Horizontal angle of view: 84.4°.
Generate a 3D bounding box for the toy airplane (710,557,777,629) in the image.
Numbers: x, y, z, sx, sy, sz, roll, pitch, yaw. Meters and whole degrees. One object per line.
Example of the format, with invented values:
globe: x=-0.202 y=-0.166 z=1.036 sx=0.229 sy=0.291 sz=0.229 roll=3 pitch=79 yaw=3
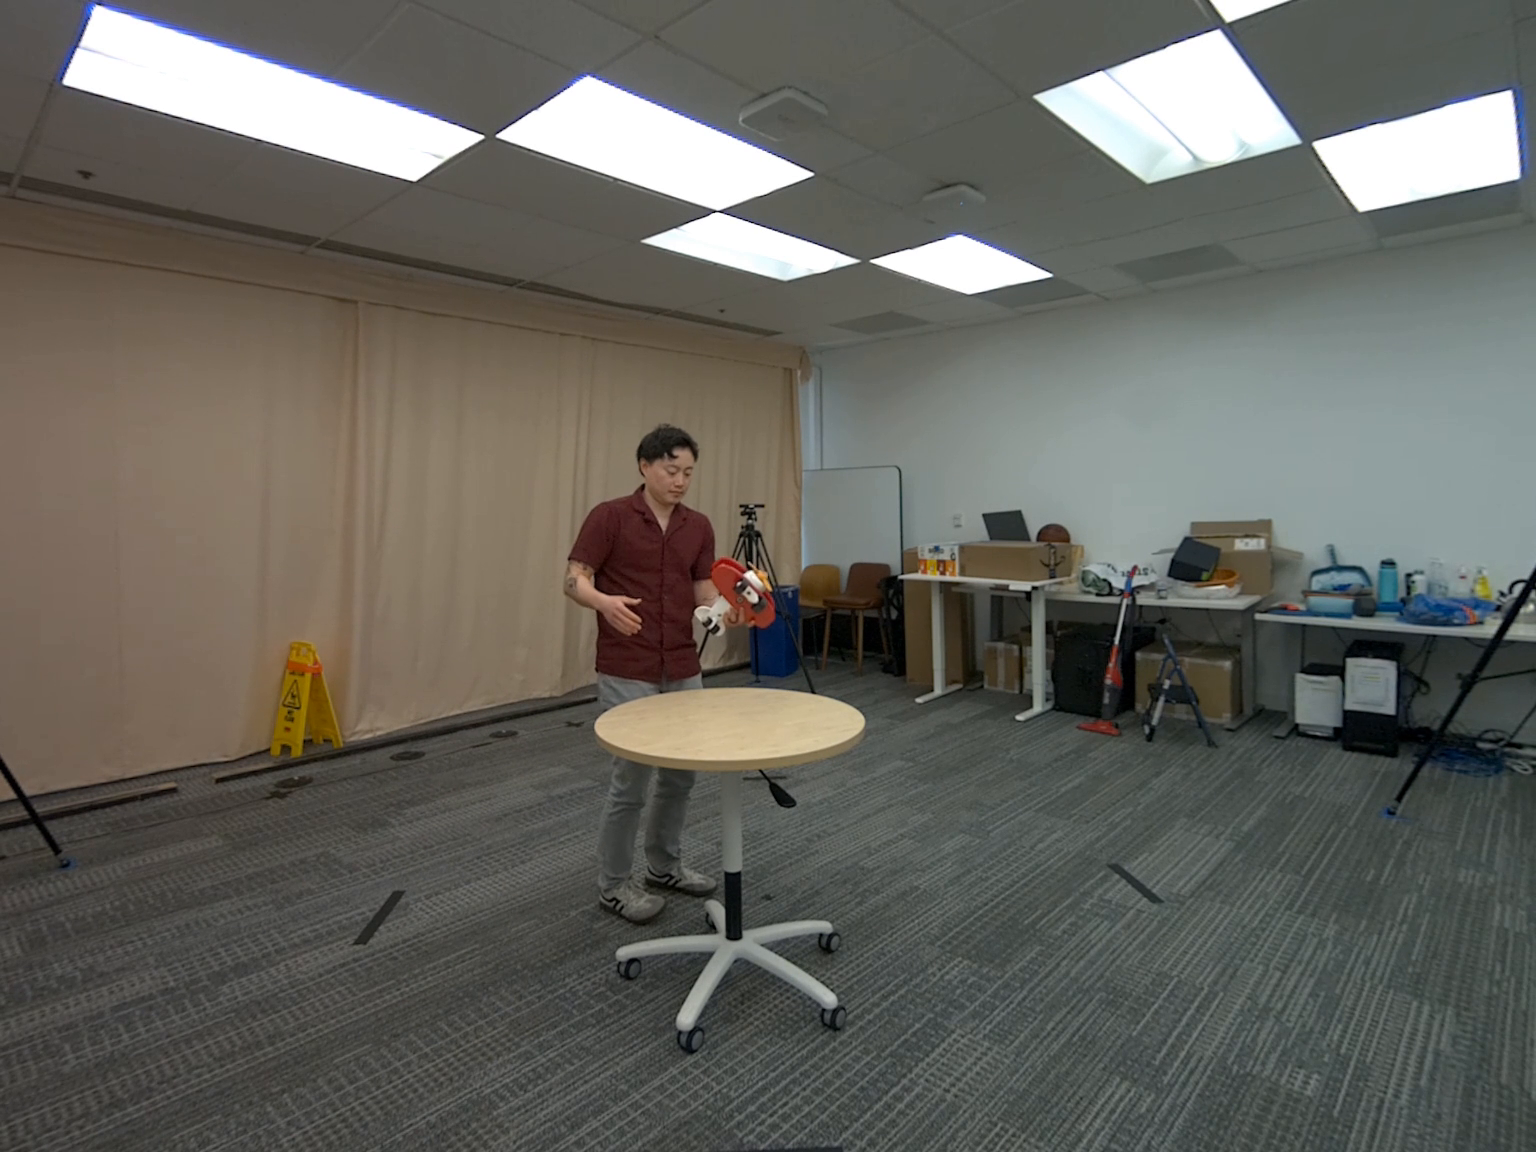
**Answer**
toy airplane: x=-0.117 y=0.060 z=2.708 sx=0.264 sy=0.246 sz=0.157 roll=-8 pitch=25 yaw=18
